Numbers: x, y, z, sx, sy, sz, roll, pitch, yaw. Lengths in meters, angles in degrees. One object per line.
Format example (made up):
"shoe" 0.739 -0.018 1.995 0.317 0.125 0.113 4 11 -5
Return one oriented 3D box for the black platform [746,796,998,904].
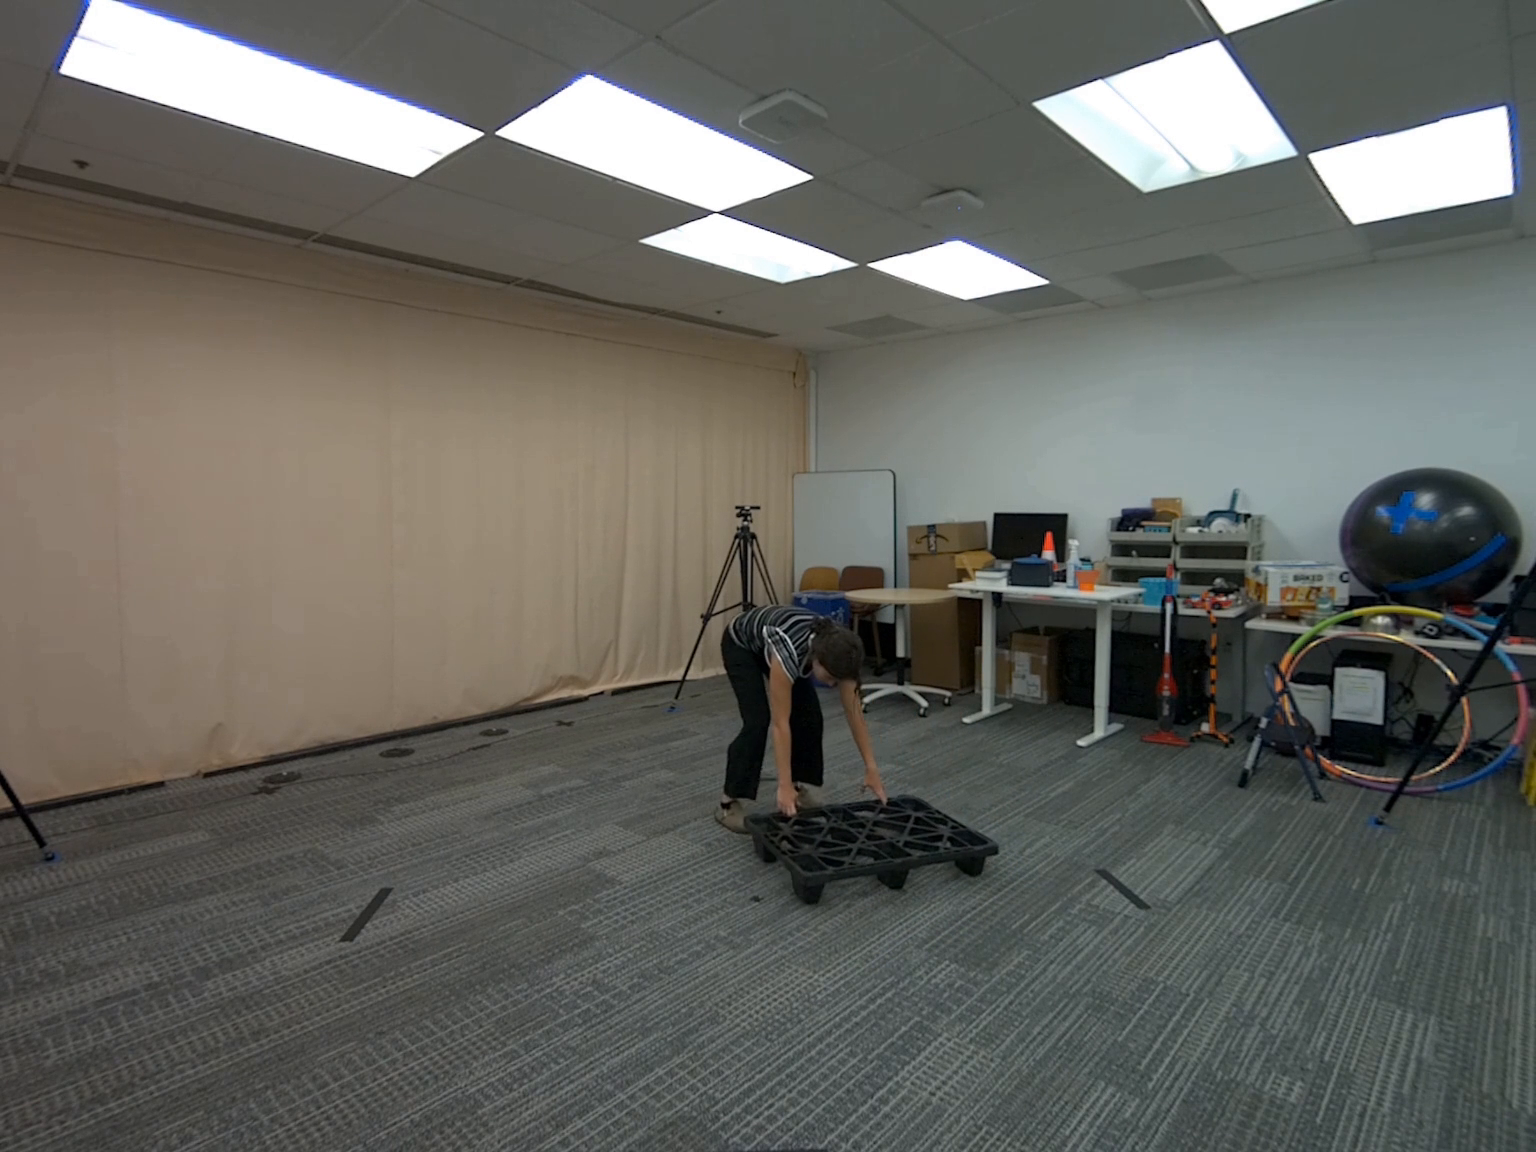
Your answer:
"black platform" 0.385 1.049 3.265 0.789 0.143 0.619 -2 5 -20
